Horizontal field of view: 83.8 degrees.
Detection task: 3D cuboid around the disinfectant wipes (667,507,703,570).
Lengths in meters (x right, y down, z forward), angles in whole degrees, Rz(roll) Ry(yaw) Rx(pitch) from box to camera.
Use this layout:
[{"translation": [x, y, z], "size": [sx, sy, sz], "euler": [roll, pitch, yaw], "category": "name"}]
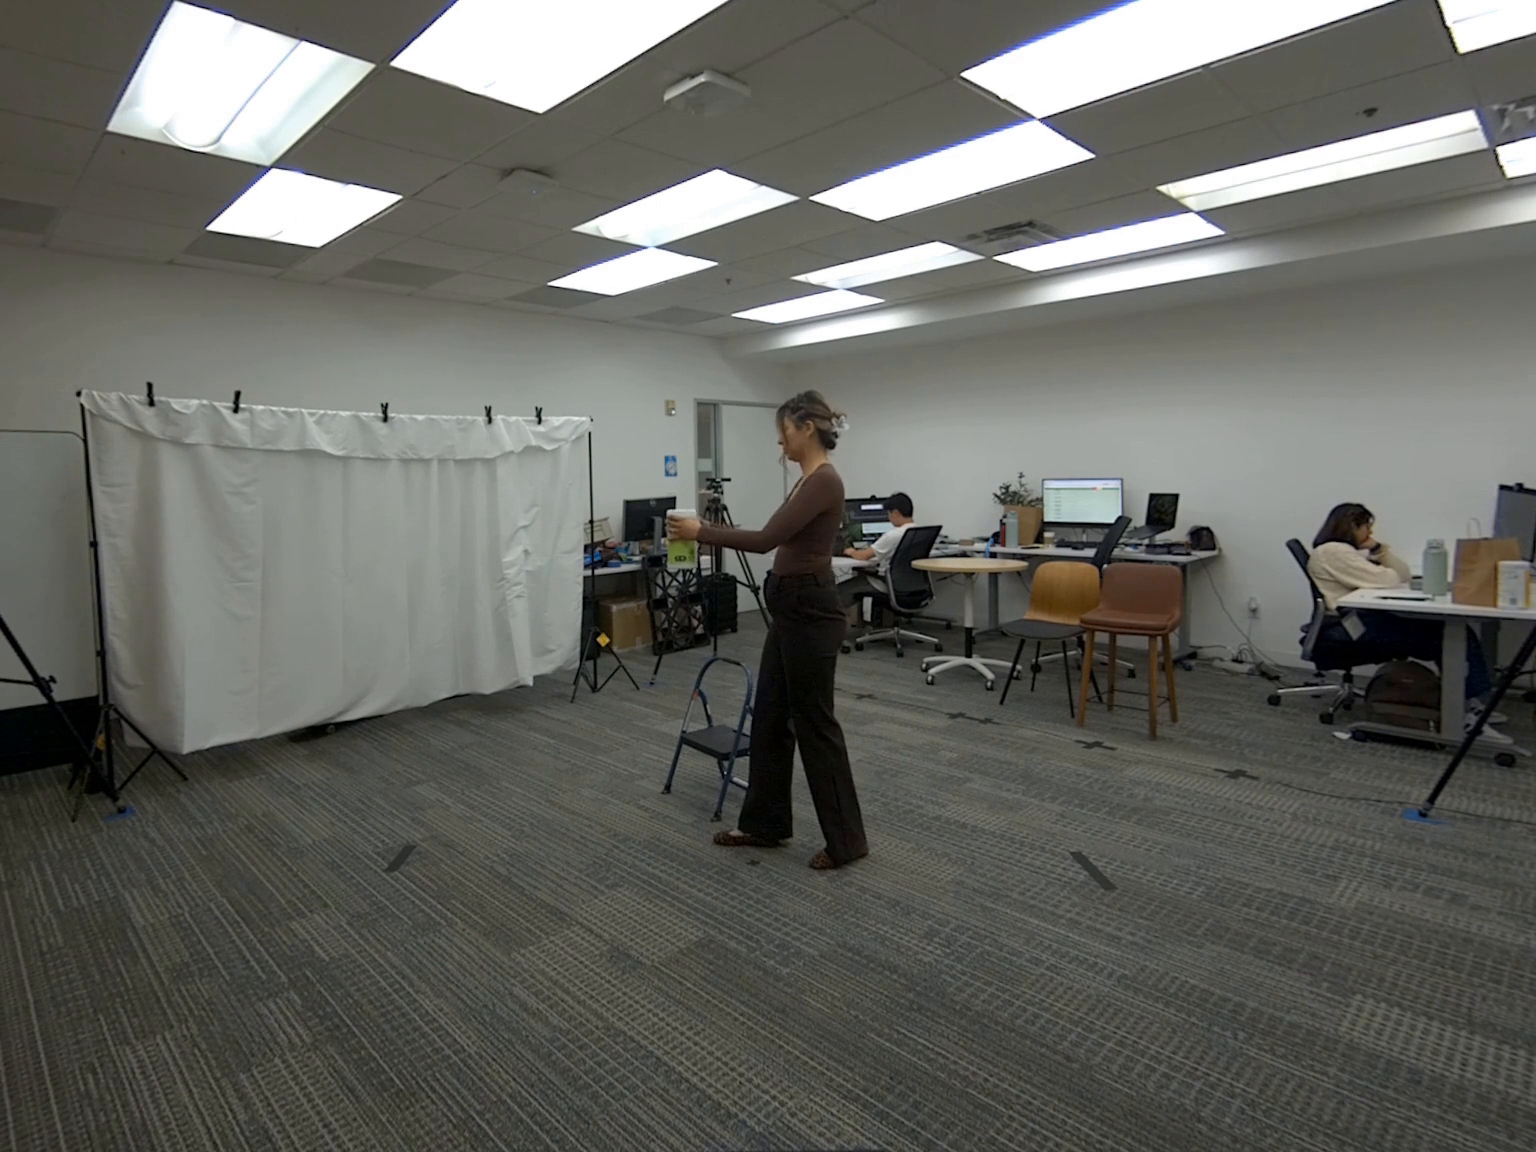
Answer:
[{"translation": [-0.302, -0.136, 3.102], "size": [0.118, 0.217, 0.118], "euler": [-1, 0, -2], "category": "disinfectant wipes"}]
